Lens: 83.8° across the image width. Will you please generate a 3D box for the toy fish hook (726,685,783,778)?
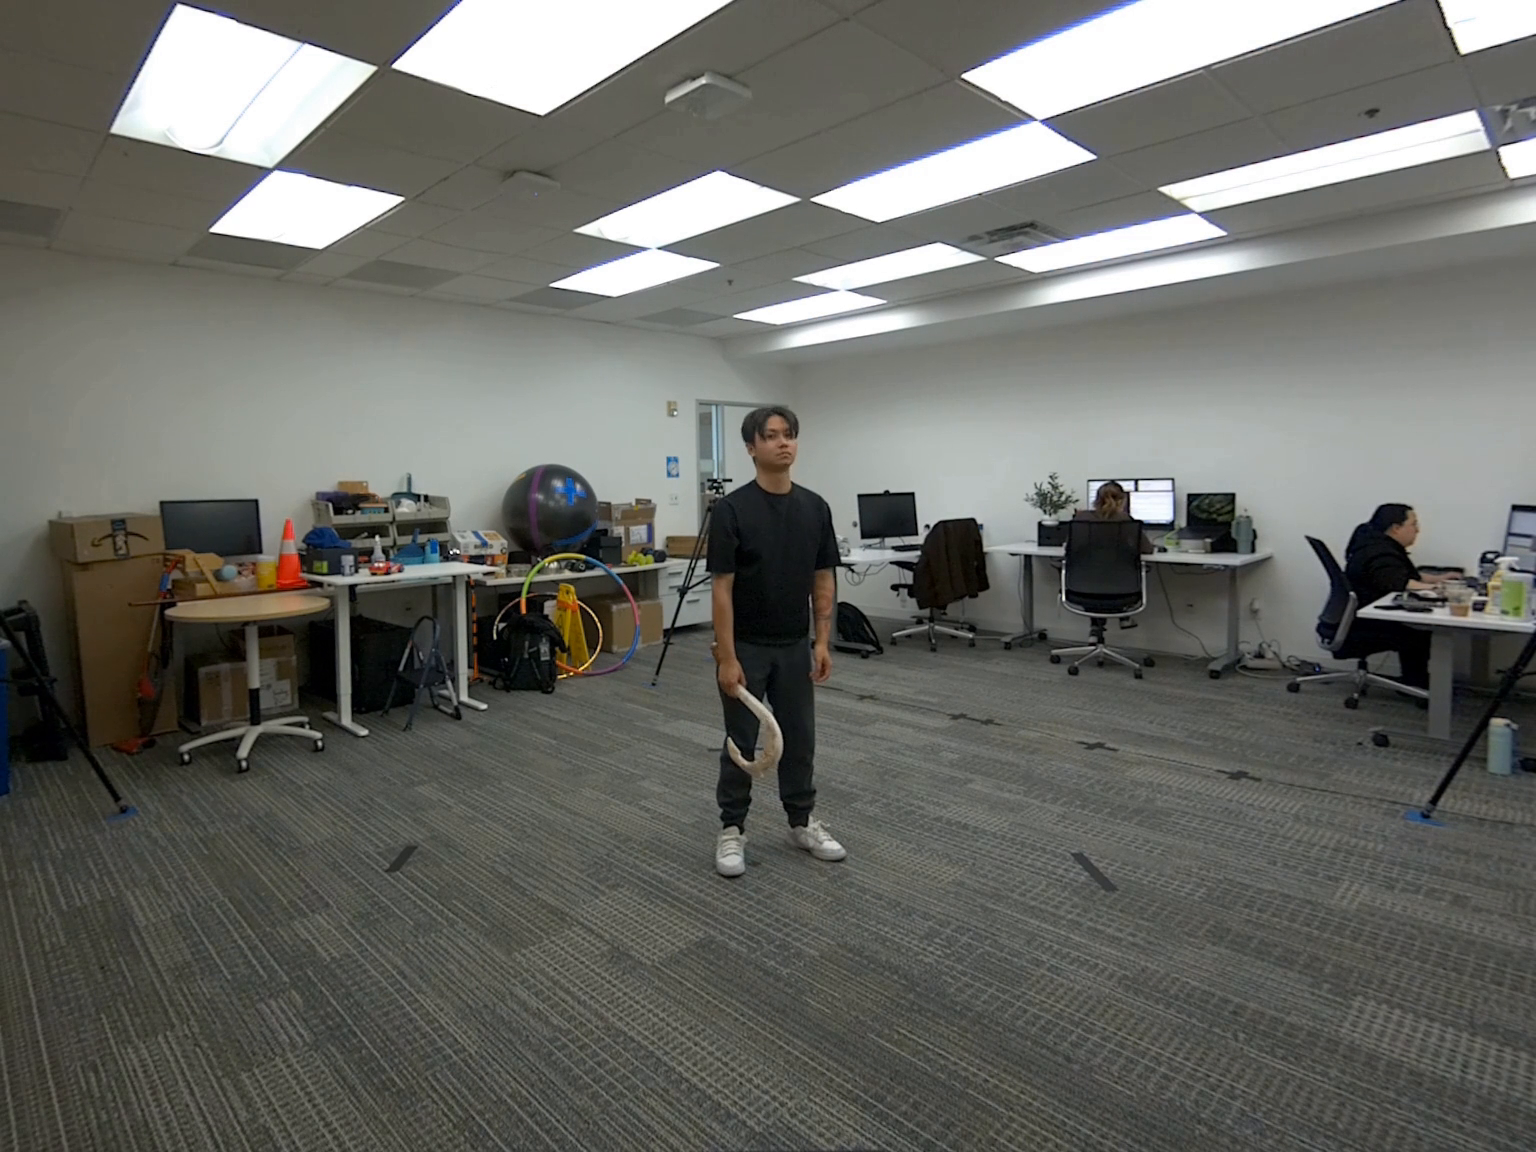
[{"bbox_3d":[-0.112,0.460,2.949,0.046,0.224,0.526,22,27,-48],"label":"toy fish hook"}]
